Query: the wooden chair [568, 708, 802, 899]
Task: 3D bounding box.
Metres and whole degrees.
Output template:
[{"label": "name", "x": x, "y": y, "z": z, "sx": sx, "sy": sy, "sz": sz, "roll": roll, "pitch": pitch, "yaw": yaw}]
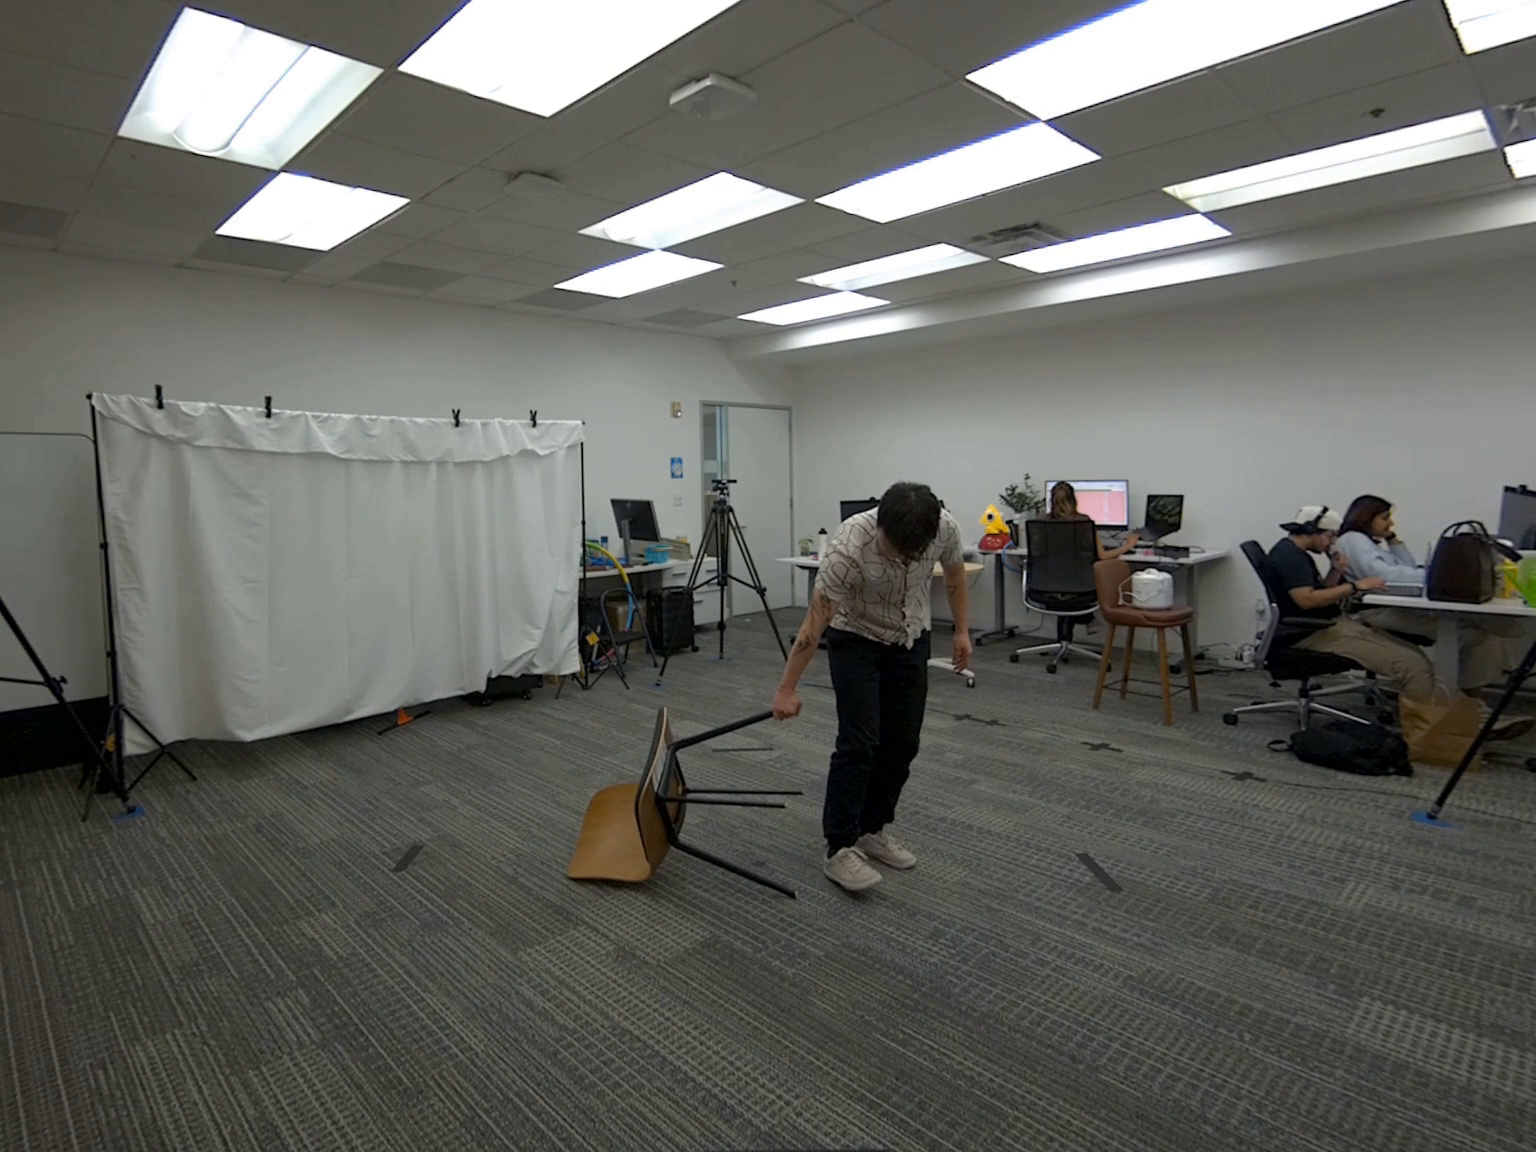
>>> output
[{"label": "wooden chair", "x": -0.329, "y": 0.772, "z": 2.978, "sx": 0.887, "sy": 0.508, "sz": 0.487, "roll": -5, "pitch": 32, "yaw": 12}]
